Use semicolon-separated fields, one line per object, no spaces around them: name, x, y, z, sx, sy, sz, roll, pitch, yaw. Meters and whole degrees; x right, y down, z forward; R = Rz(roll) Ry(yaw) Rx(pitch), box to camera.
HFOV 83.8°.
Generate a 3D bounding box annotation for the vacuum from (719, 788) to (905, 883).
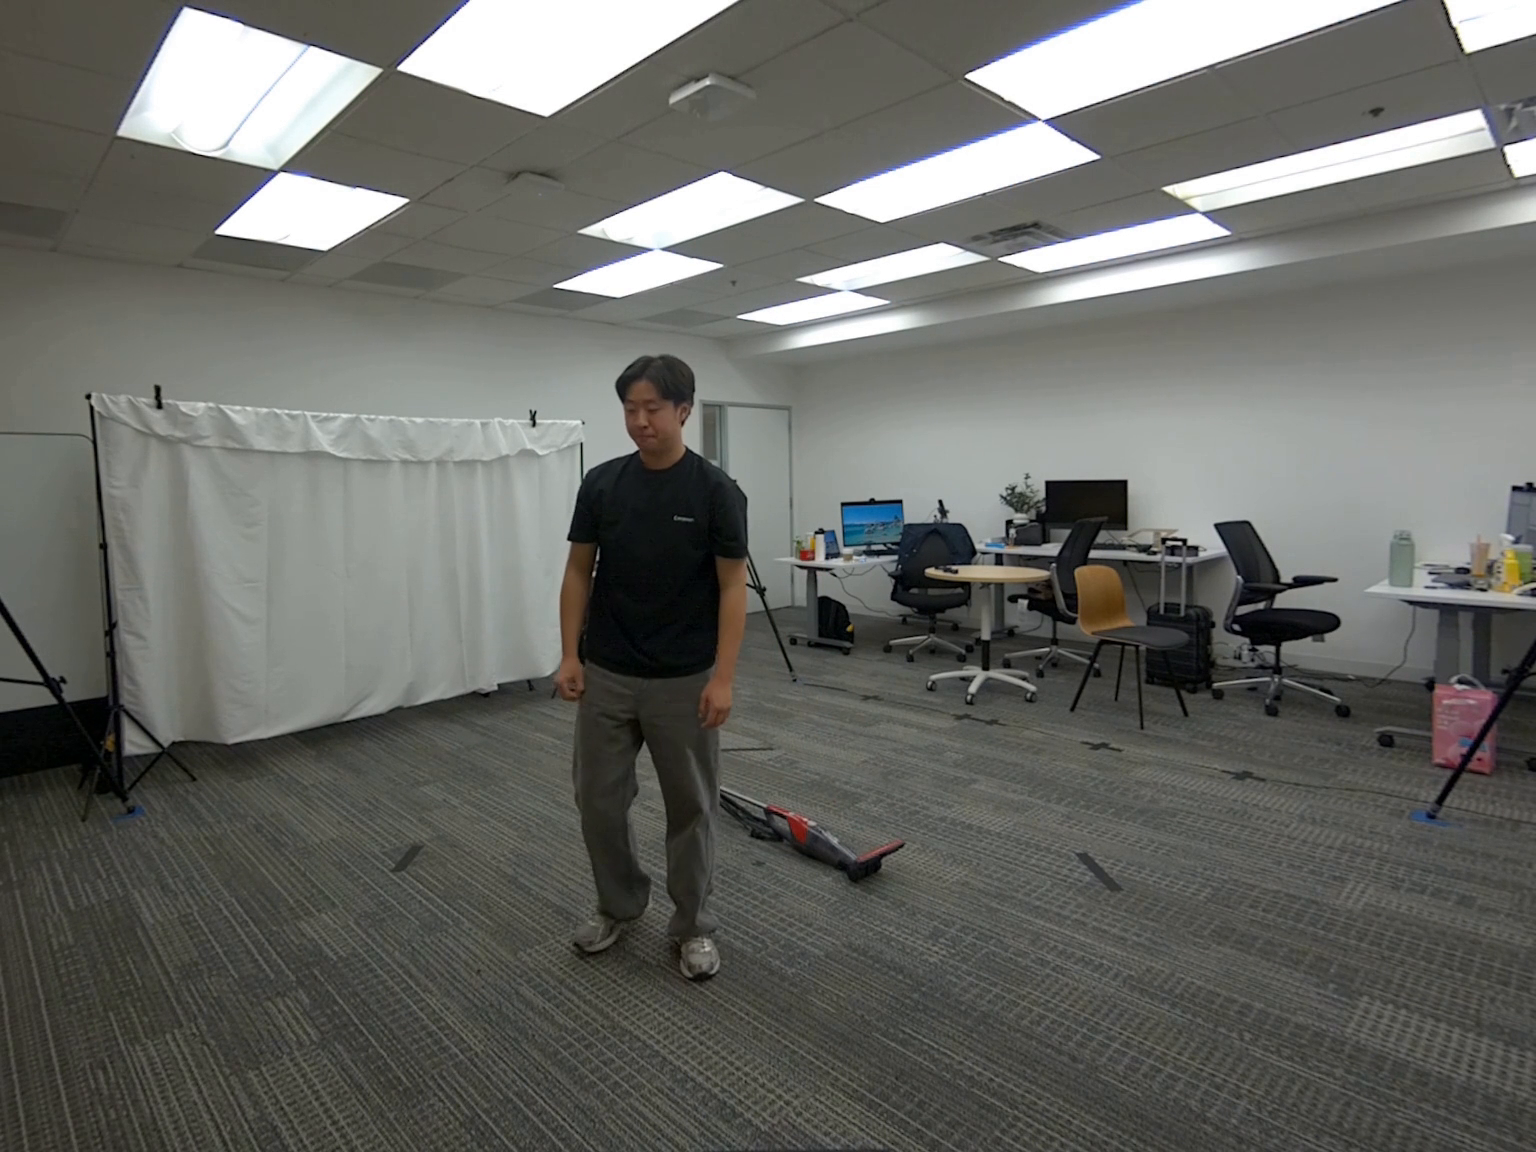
vacuum;0.005;0.962;3.349;0.246;0.143;1.082;-4;7;-41
